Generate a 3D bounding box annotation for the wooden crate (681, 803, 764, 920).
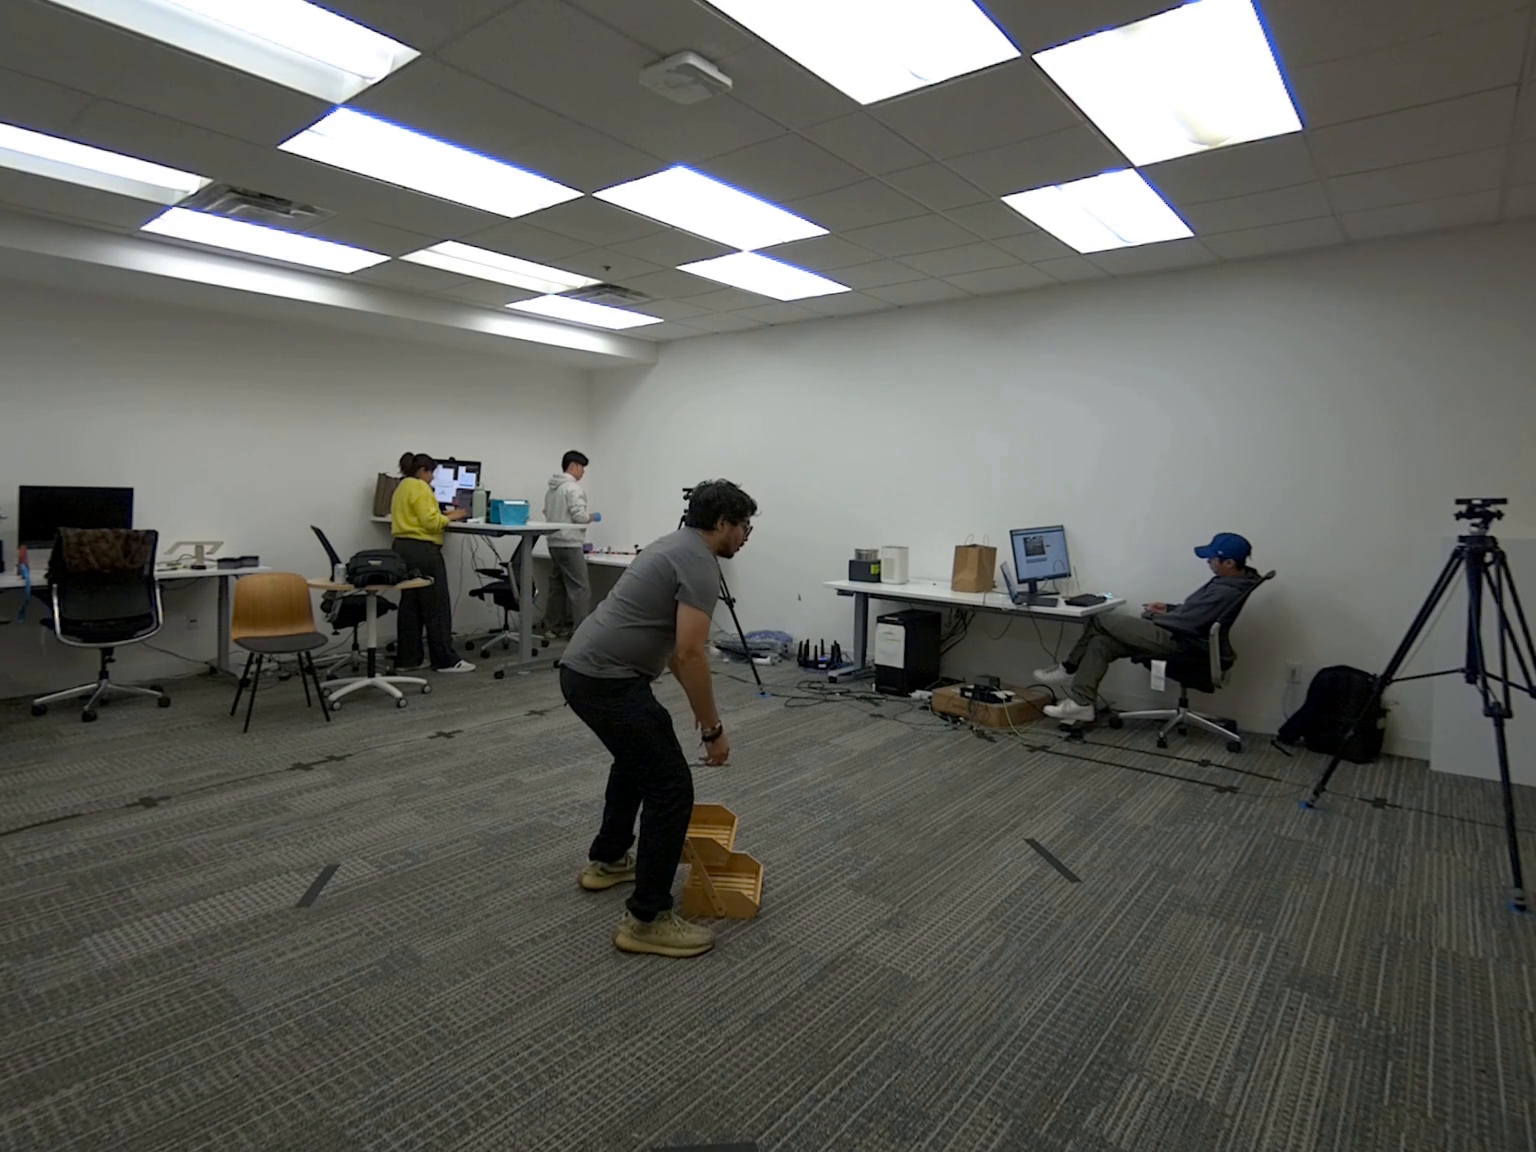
[{"bbox_3d":[-0.176,0.956,2.905,0.303,0.272,0.324,-1,4,4],"label":"wooden crate"}]
